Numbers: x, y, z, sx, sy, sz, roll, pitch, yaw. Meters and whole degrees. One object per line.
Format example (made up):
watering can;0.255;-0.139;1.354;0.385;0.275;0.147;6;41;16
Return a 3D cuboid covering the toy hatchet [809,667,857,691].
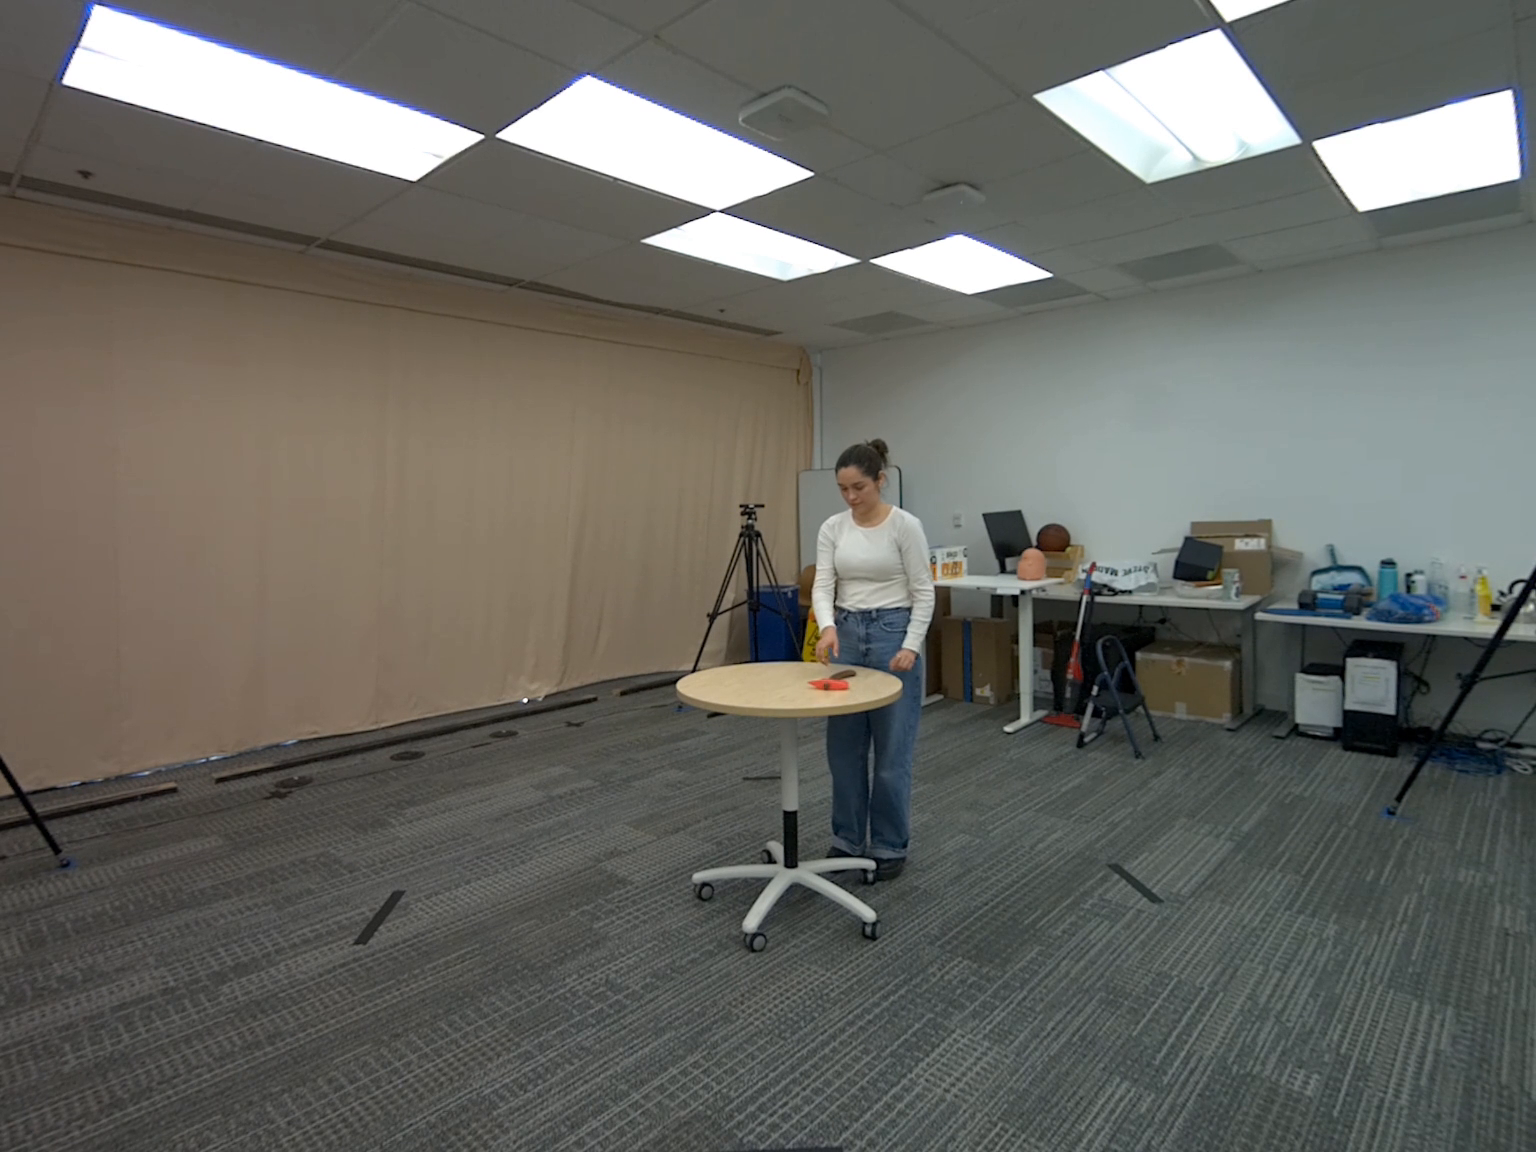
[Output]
toy hatchet;0.259;0.351;2.840;0.135;0.029;0.262;2;4;34
